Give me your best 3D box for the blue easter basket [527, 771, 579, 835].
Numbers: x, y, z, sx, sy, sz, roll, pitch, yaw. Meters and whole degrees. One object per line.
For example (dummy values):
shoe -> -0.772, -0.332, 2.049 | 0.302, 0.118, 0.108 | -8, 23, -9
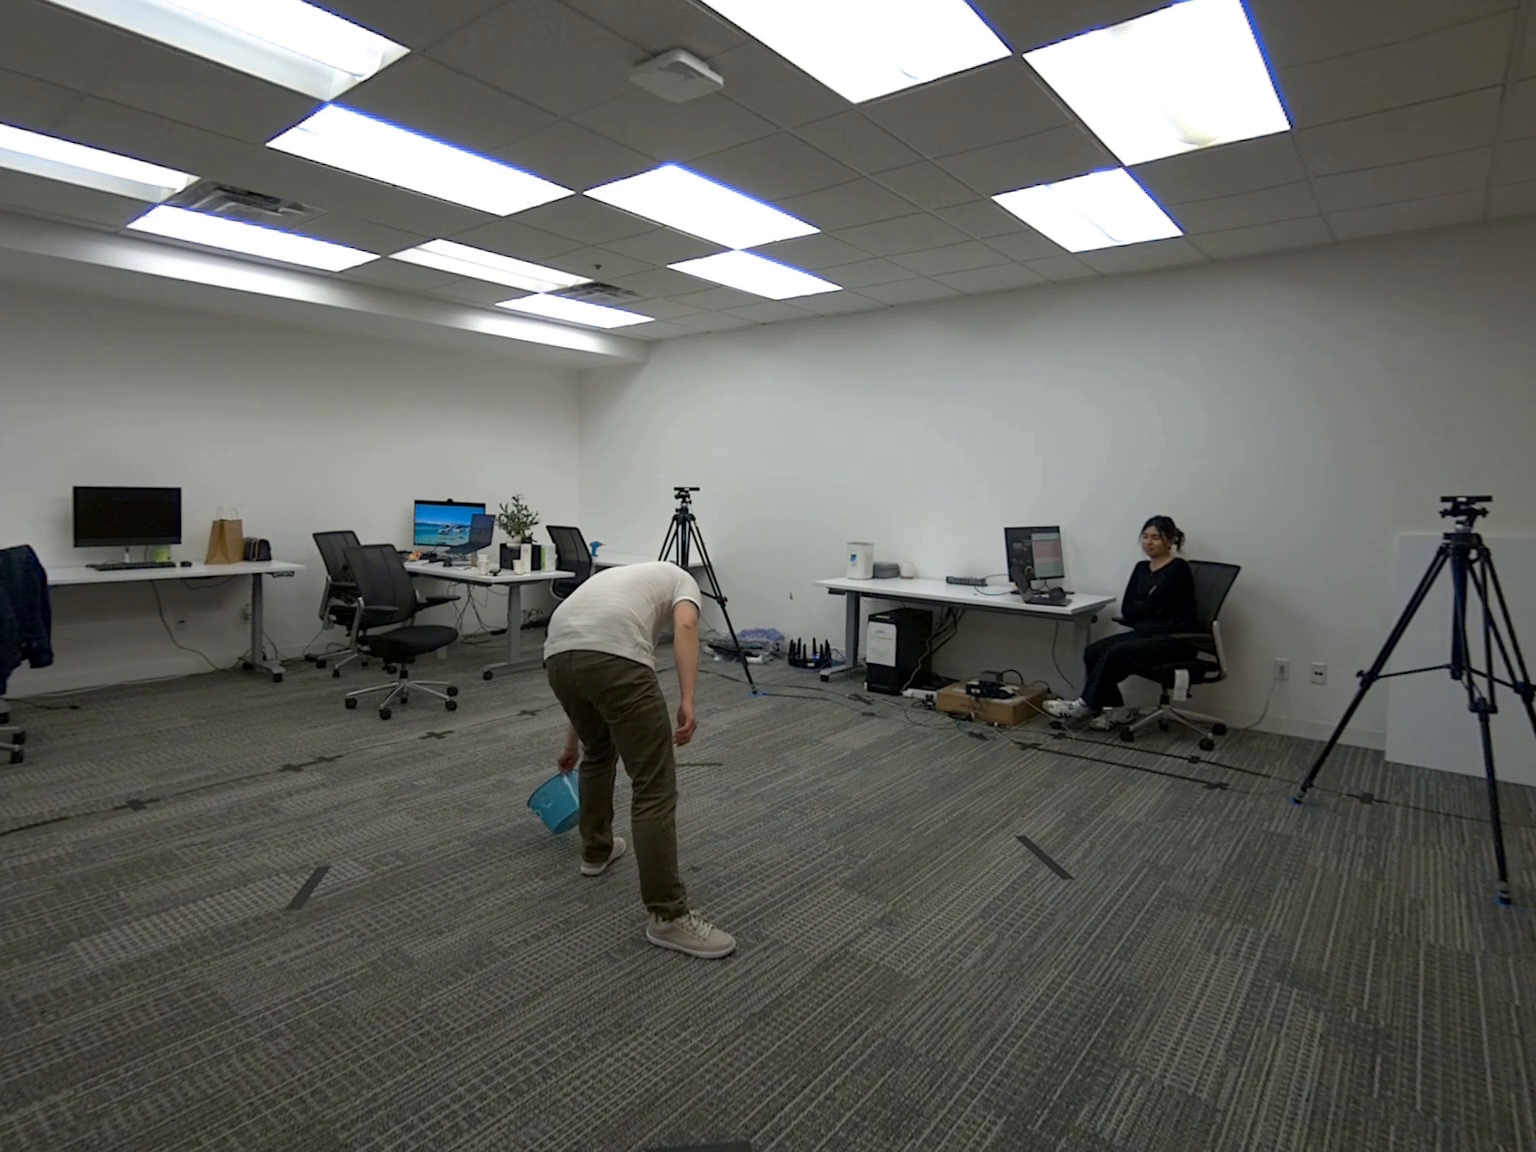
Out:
blue easter basket -> -0.808, 0.883, 3.301 | 0.161, 0.243, 0.237 | 50, 28, 21
